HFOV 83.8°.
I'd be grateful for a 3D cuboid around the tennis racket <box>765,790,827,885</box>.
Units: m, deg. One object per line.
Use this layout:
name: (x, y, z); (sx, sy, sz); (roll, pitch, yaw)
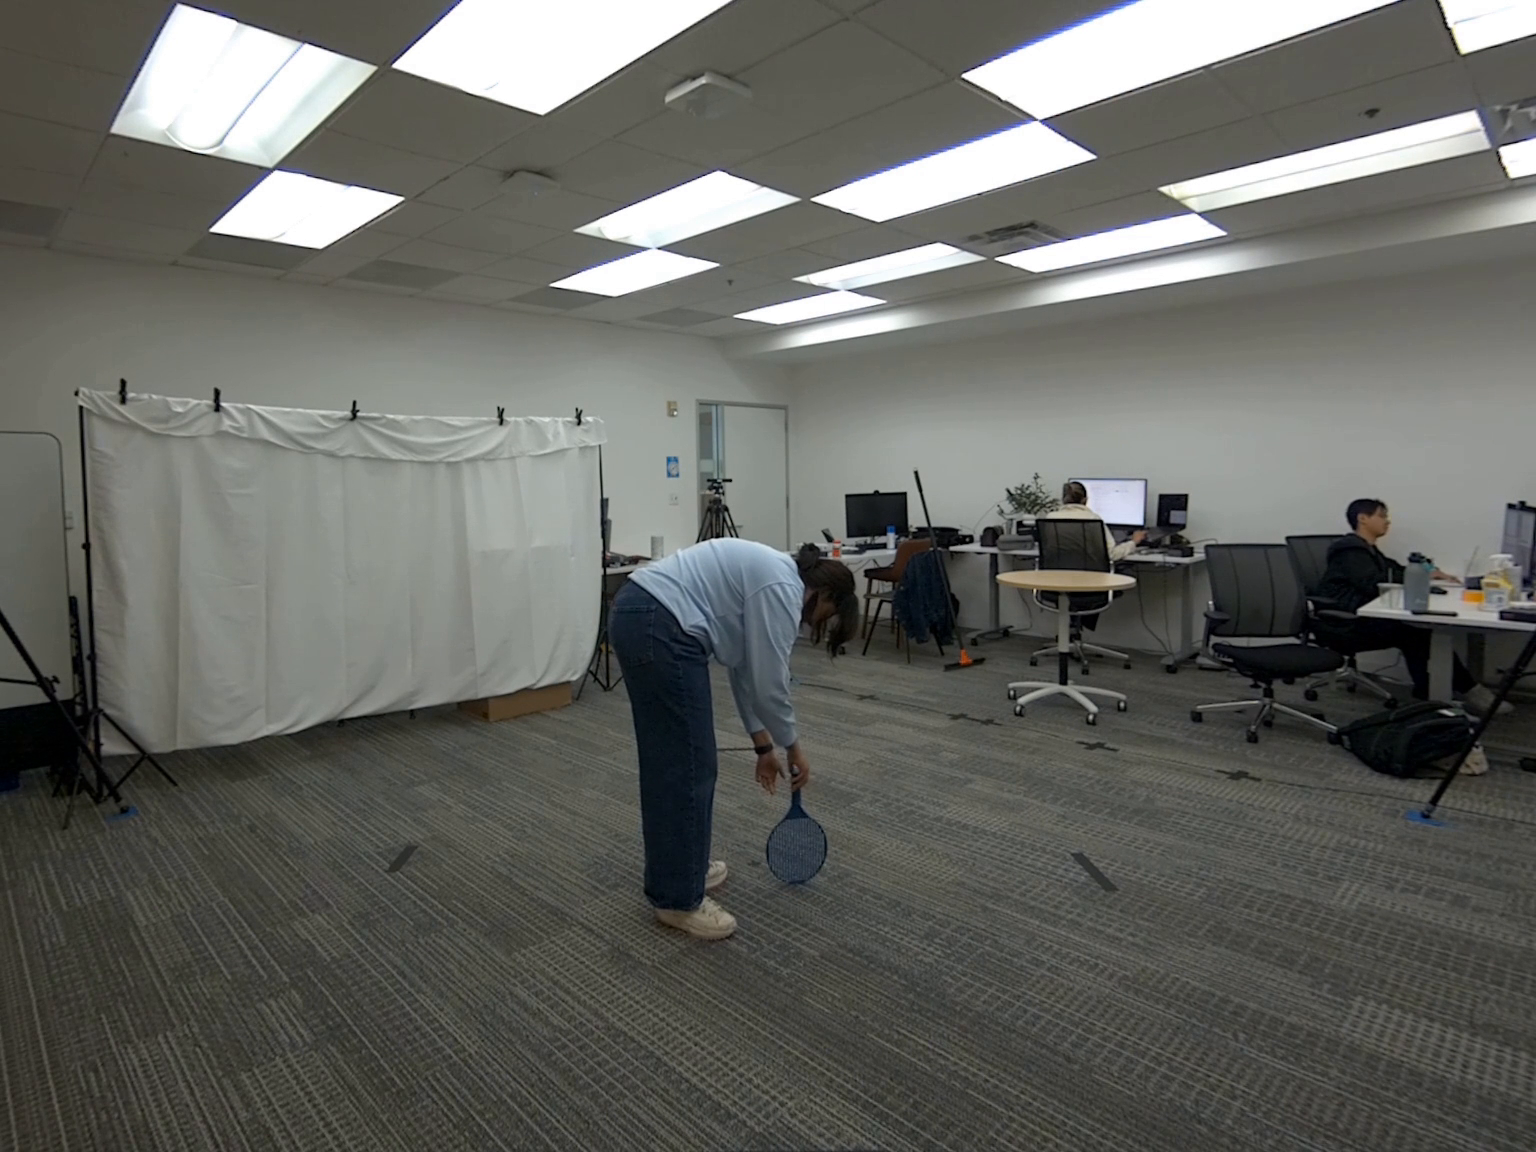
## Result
tennis racket: (0.100, 0.858, 2.893); (0.212, 0.427, 0.032); (-1, 14, -6)
